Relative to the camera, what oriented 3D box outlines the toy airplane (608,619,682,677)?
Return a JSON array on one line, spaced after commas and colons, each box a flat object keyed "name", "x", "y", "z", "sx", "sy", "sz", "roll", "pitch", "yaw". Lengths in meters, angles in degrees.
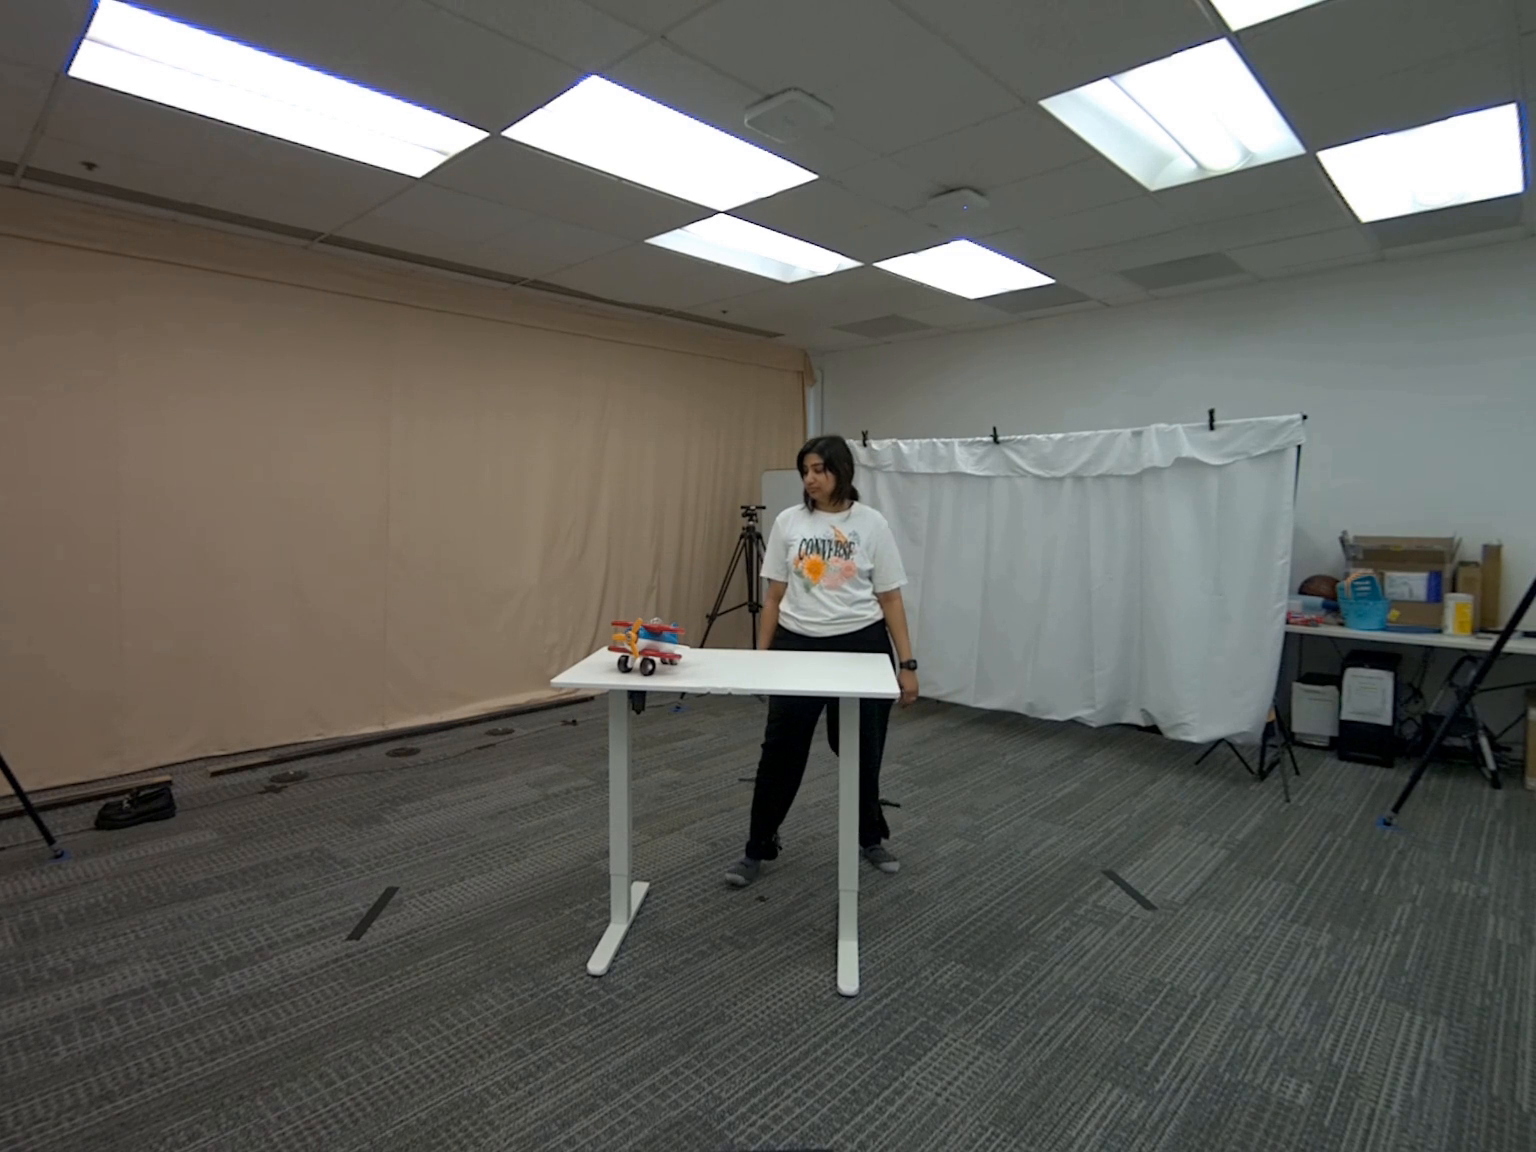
[{"name": "toy airplane", "x": -0.383, "y": 0.214, "z": 2.631, "sx": 0.252, "sy": 0.156, "sz": 0.259, "roll": 1, "pitch": 7, "yaw": 1}]
